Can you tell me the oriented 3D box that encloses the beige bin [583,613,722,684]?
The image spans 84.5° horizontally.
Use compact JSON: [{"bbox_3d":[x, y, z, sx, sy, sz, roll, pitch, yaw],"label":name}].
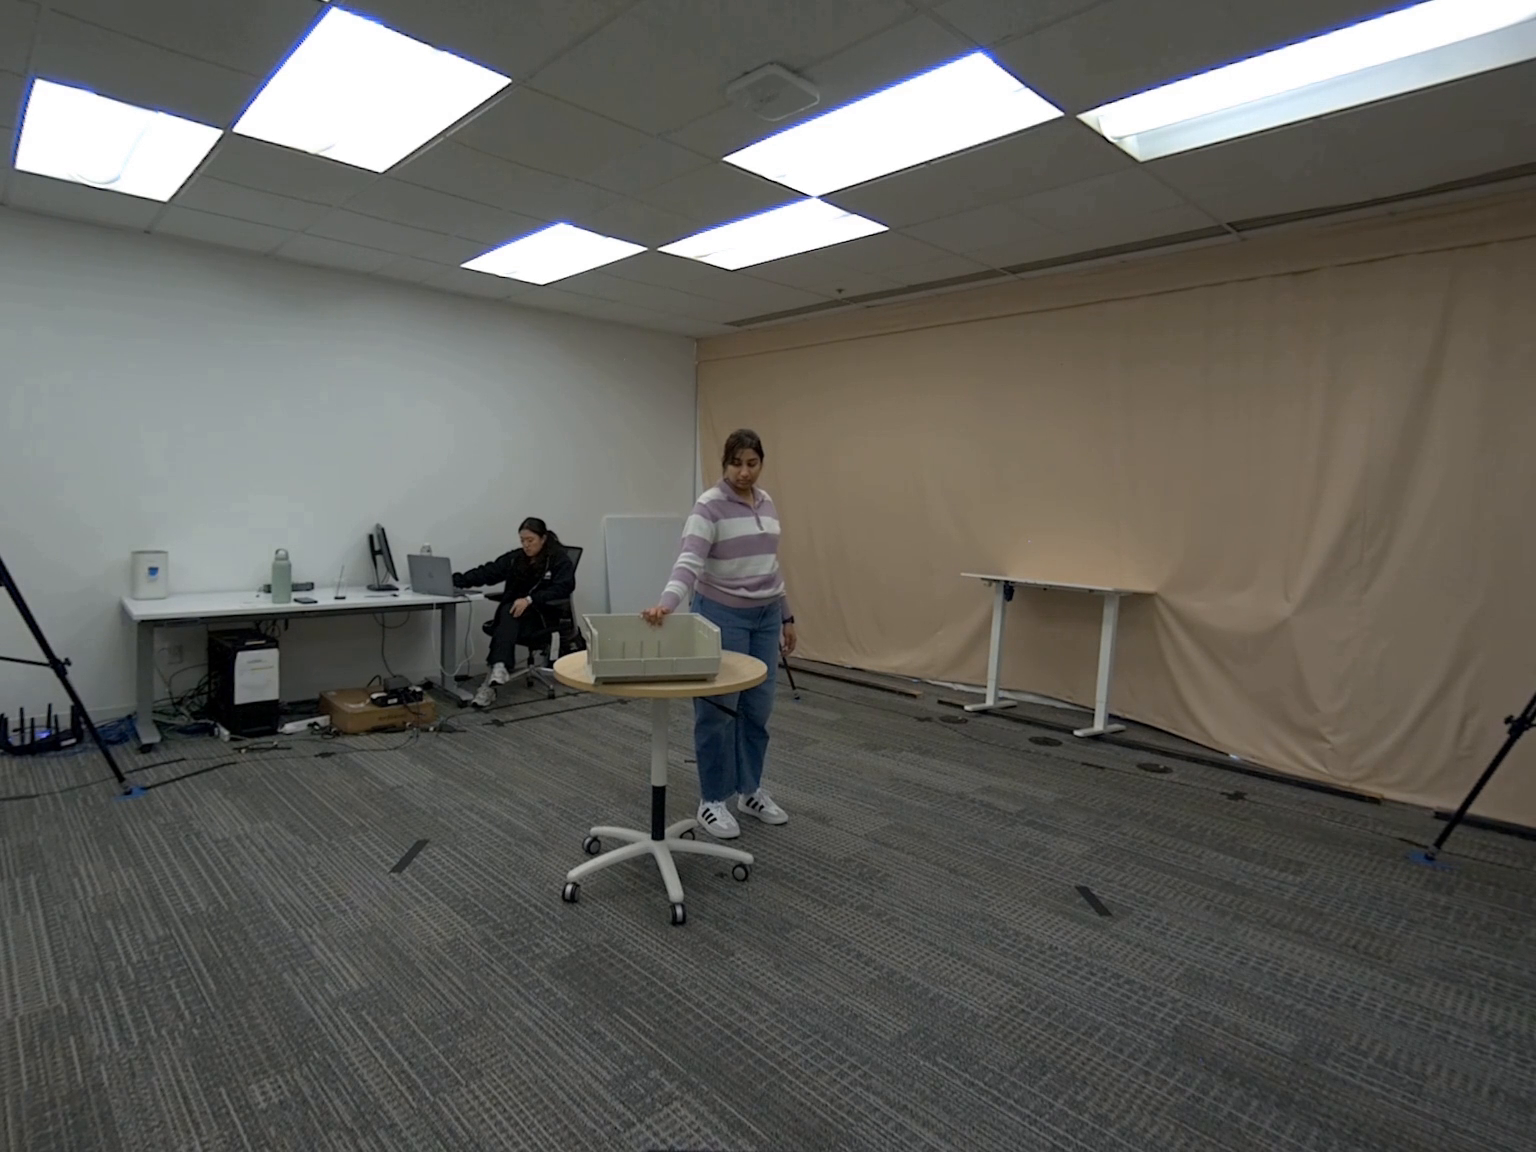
[{"bbox_3d":[-0.406,0.250,2.875,0.416,0.188,0.384,-1,5,-19],"label":"beige bin"}]
